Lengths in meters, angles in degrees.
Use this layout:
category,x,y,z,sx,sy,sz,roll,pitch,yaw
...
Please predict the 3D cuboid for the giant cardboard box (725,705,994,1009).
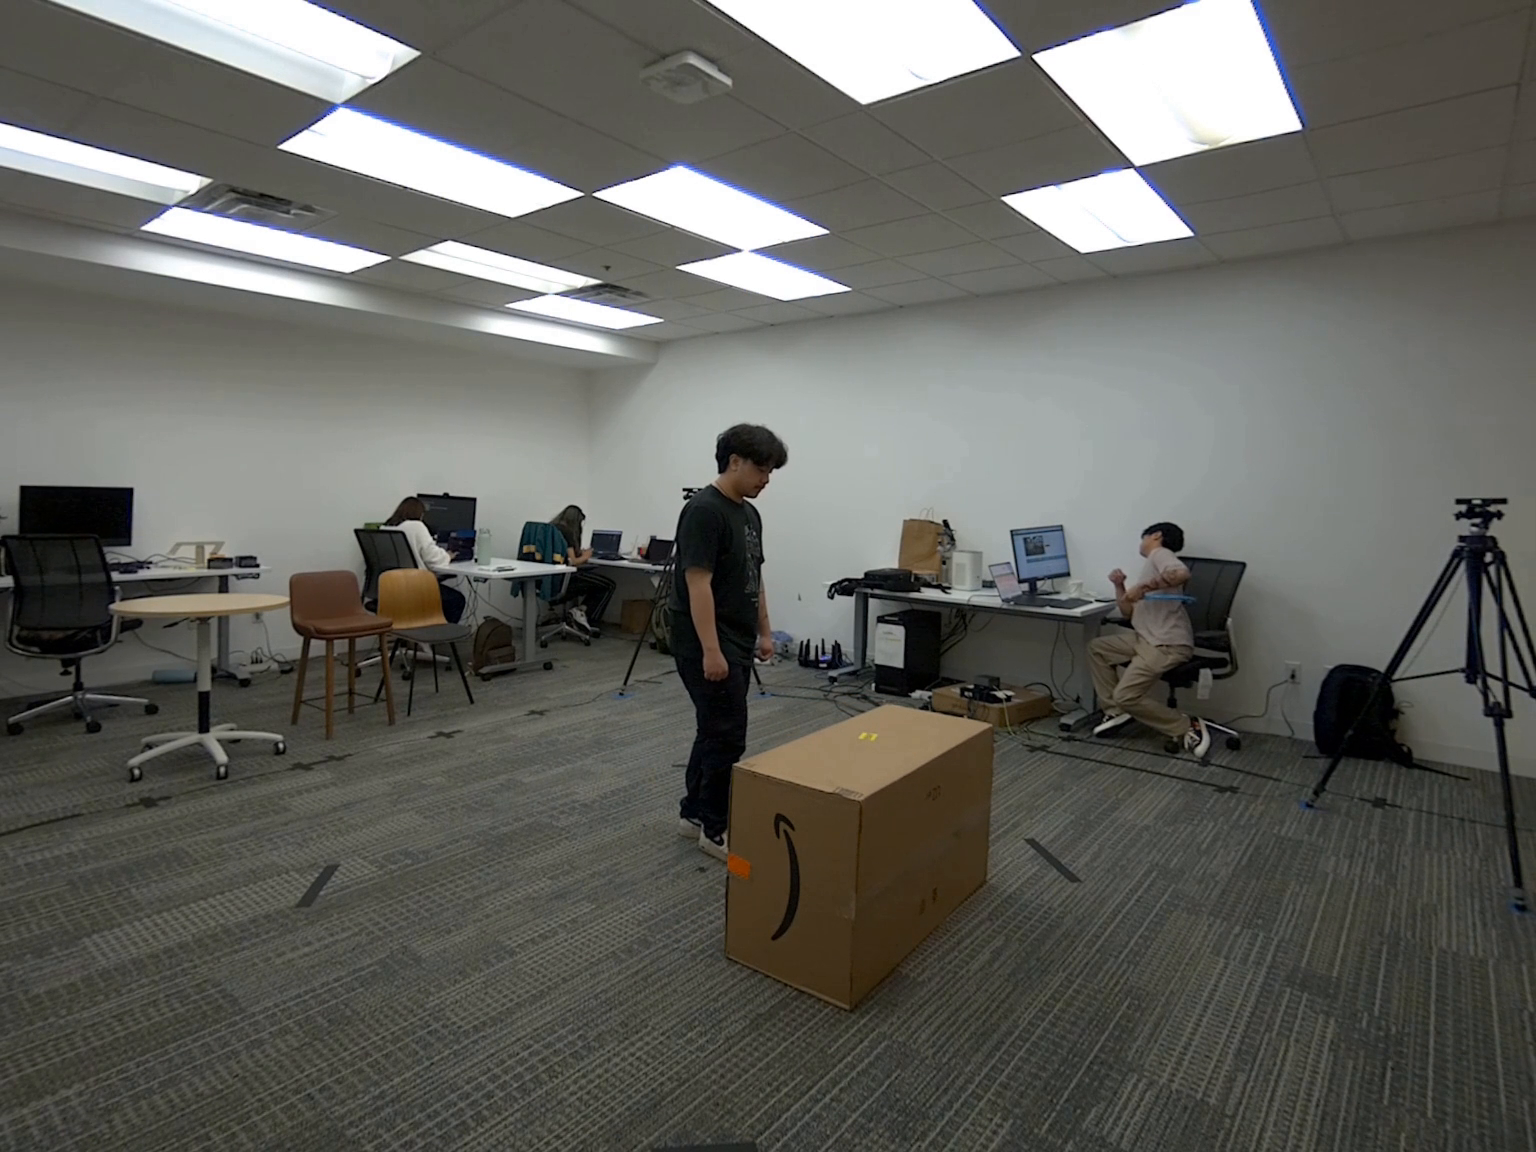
category,x,y,z,sx,sy,sz,roll,pitch,yaw
giant cardboard box,0.336,0.827,2.783,0.461,0.582,0.998,3,4,35
